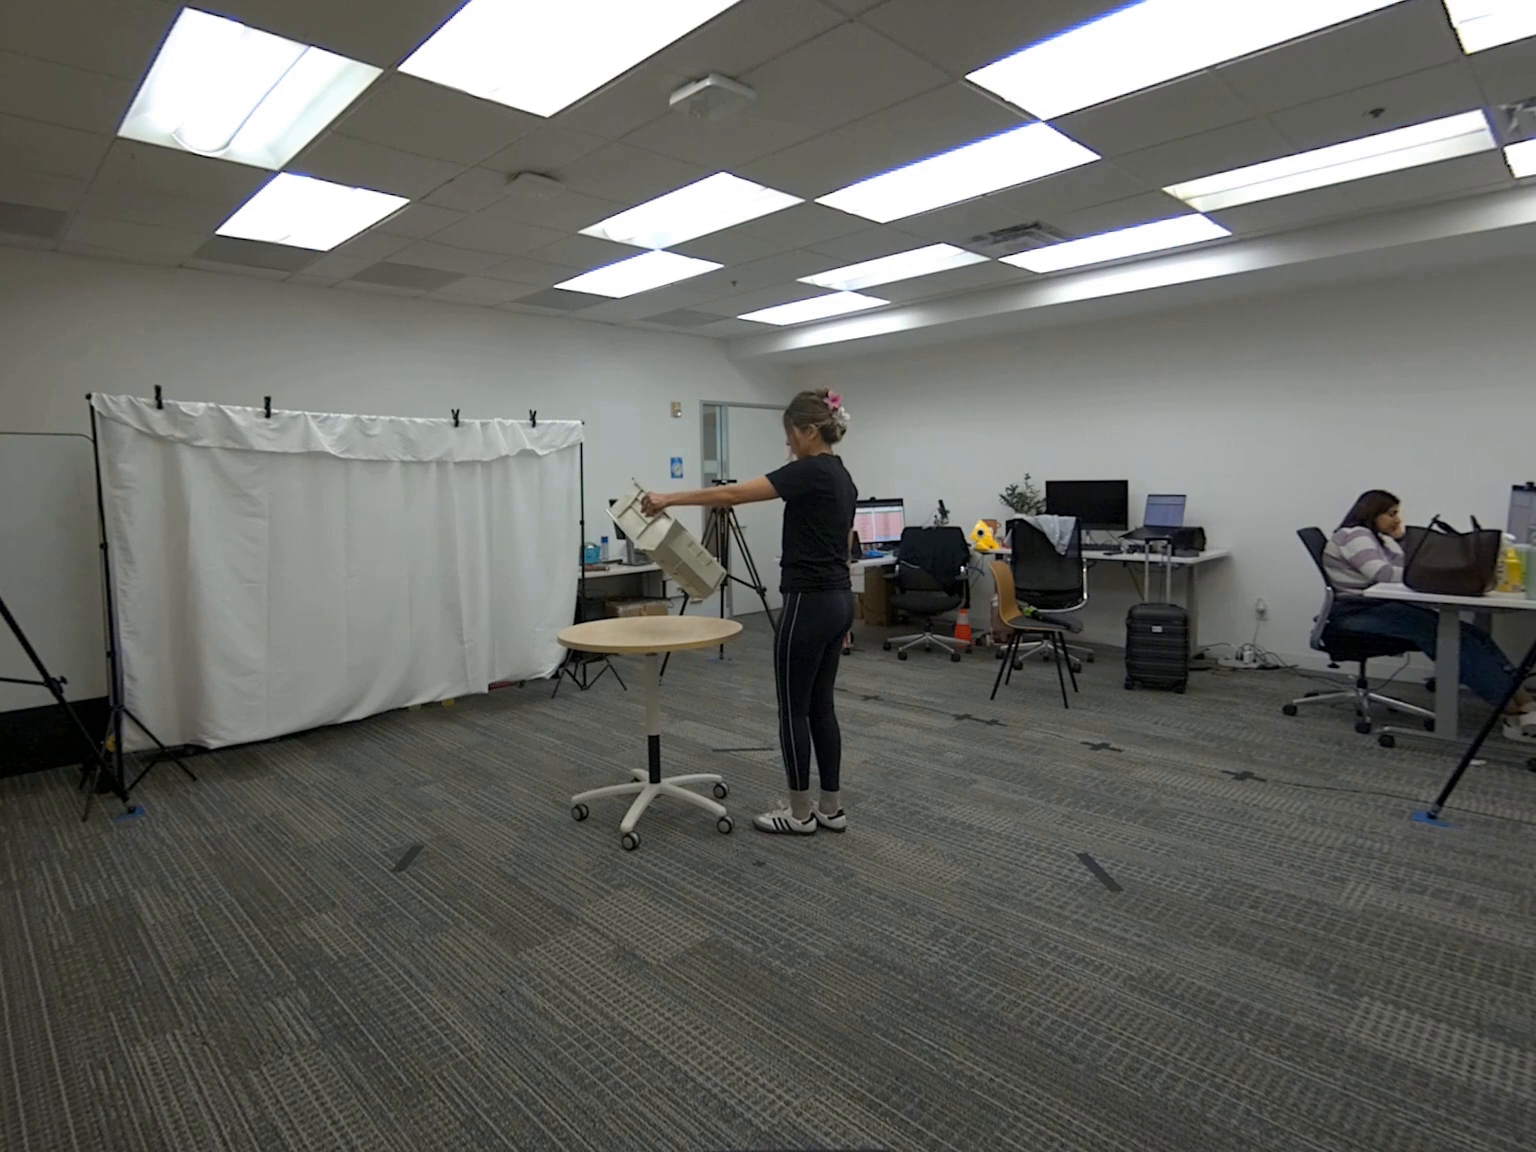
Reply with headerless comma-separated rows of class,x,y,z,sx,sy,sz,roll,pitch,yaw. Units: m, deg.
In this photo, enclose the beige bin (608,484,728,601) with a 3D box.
beige bin,-0.406,-0.135,3.456,0.392,0.189,0.406,44,-3,42
